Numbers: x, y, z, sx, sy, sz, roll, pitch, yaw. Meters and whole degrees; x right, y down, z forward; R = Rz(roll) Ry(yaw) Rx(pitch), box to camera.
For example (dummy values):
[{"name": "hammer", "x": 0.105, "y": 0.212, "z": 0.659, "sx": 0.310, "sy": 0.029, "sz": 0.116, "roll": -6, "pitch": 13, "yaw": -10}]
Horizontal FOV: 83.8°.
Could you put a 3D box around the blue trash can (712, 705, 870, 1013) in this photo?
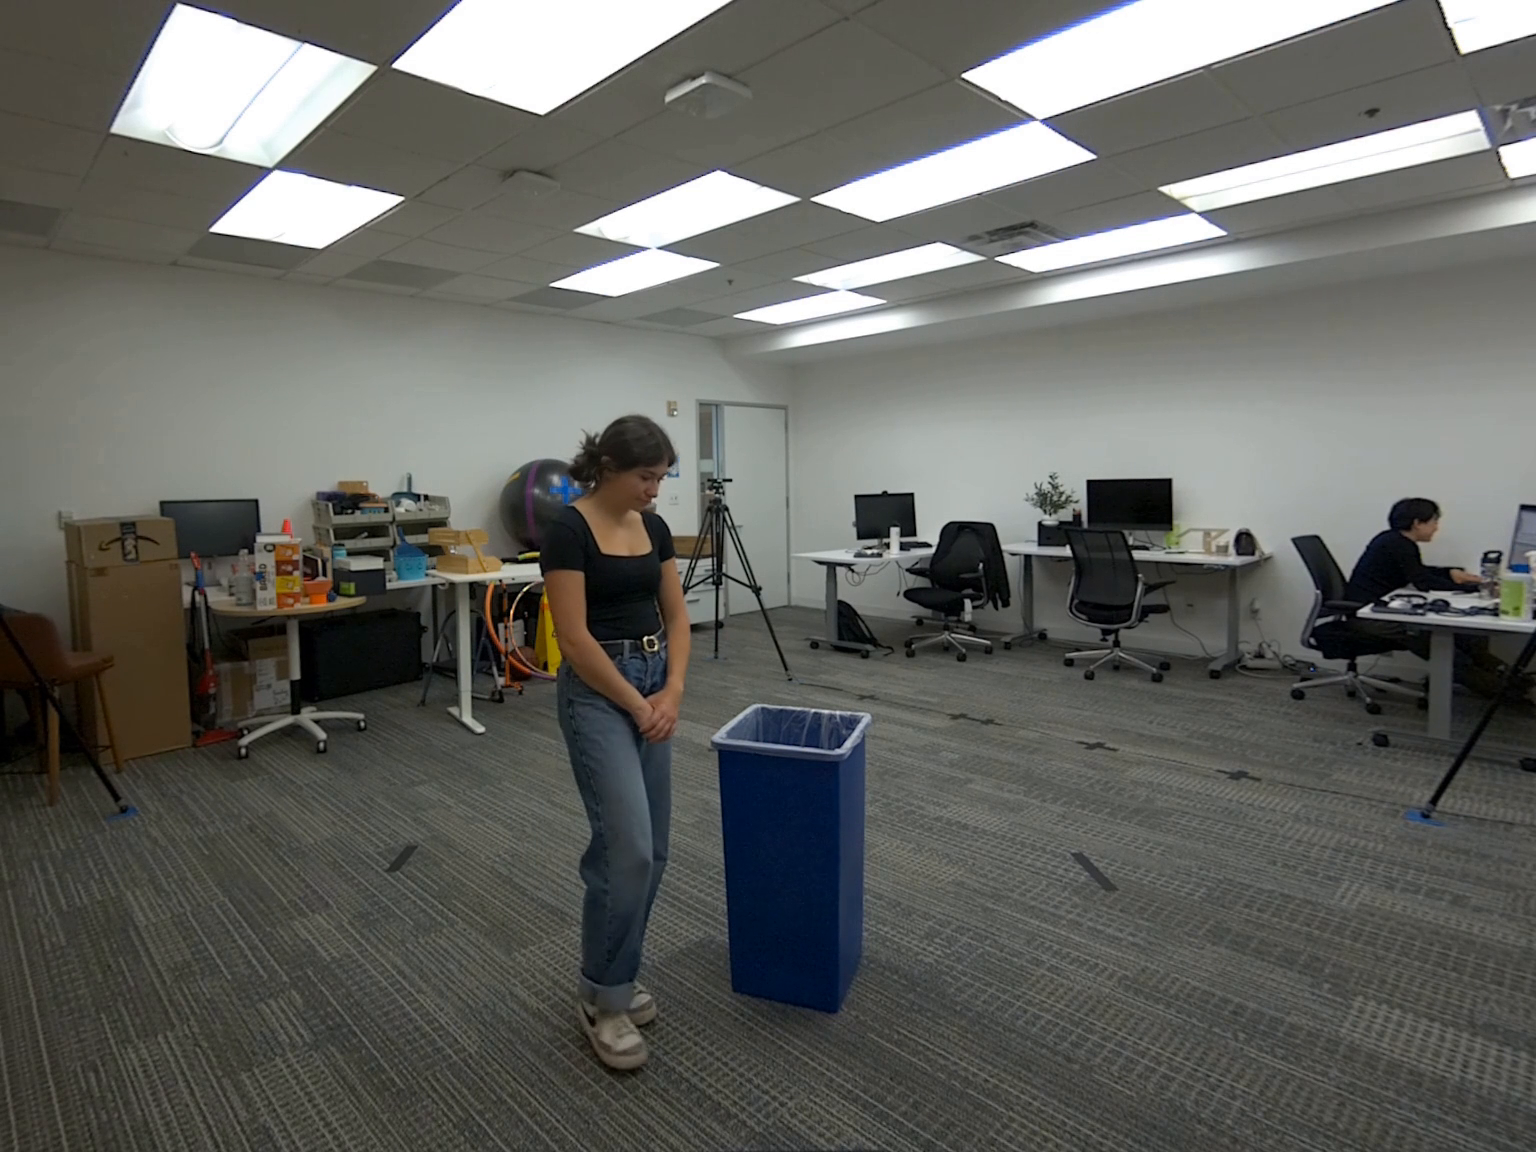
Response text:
[{"name": "blue trash can", "x": 0.086, "y": 0.770, "z": 2.387, "sx": 0.385, "sy": 0.711, "sz": 0.368, "roll": 0, "pitch": 4, "yaw": 20}]
